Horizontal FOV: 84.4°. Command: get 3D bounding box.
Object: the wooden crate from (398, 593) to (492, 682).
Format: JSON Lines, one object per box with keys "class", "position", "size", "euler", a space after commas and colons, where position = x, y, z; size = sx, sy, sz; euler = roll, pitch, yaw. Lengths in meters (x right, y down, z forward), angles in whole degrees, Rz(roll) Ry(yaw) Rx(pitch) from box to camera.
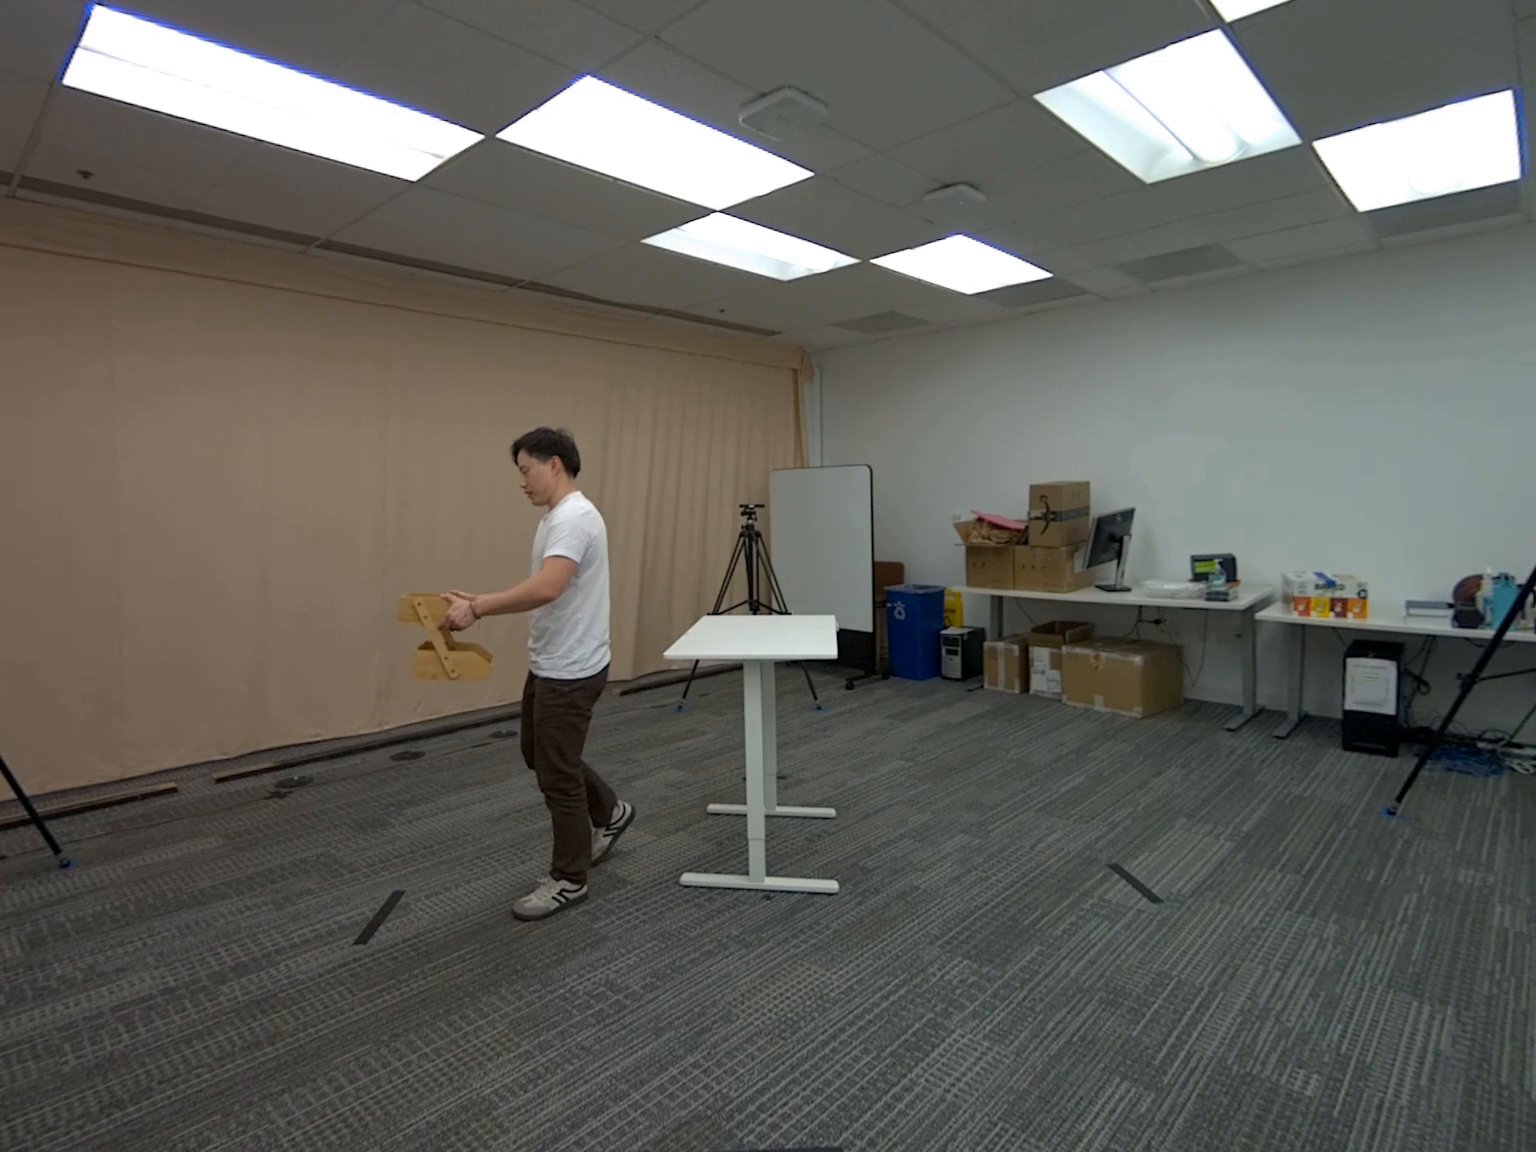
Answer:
{"class": "wooden crate", "position": [-1.053, 0.189, 2.836], "size": [0.297, 0.273, 0.329], "euler": [1, 1, -15]}
